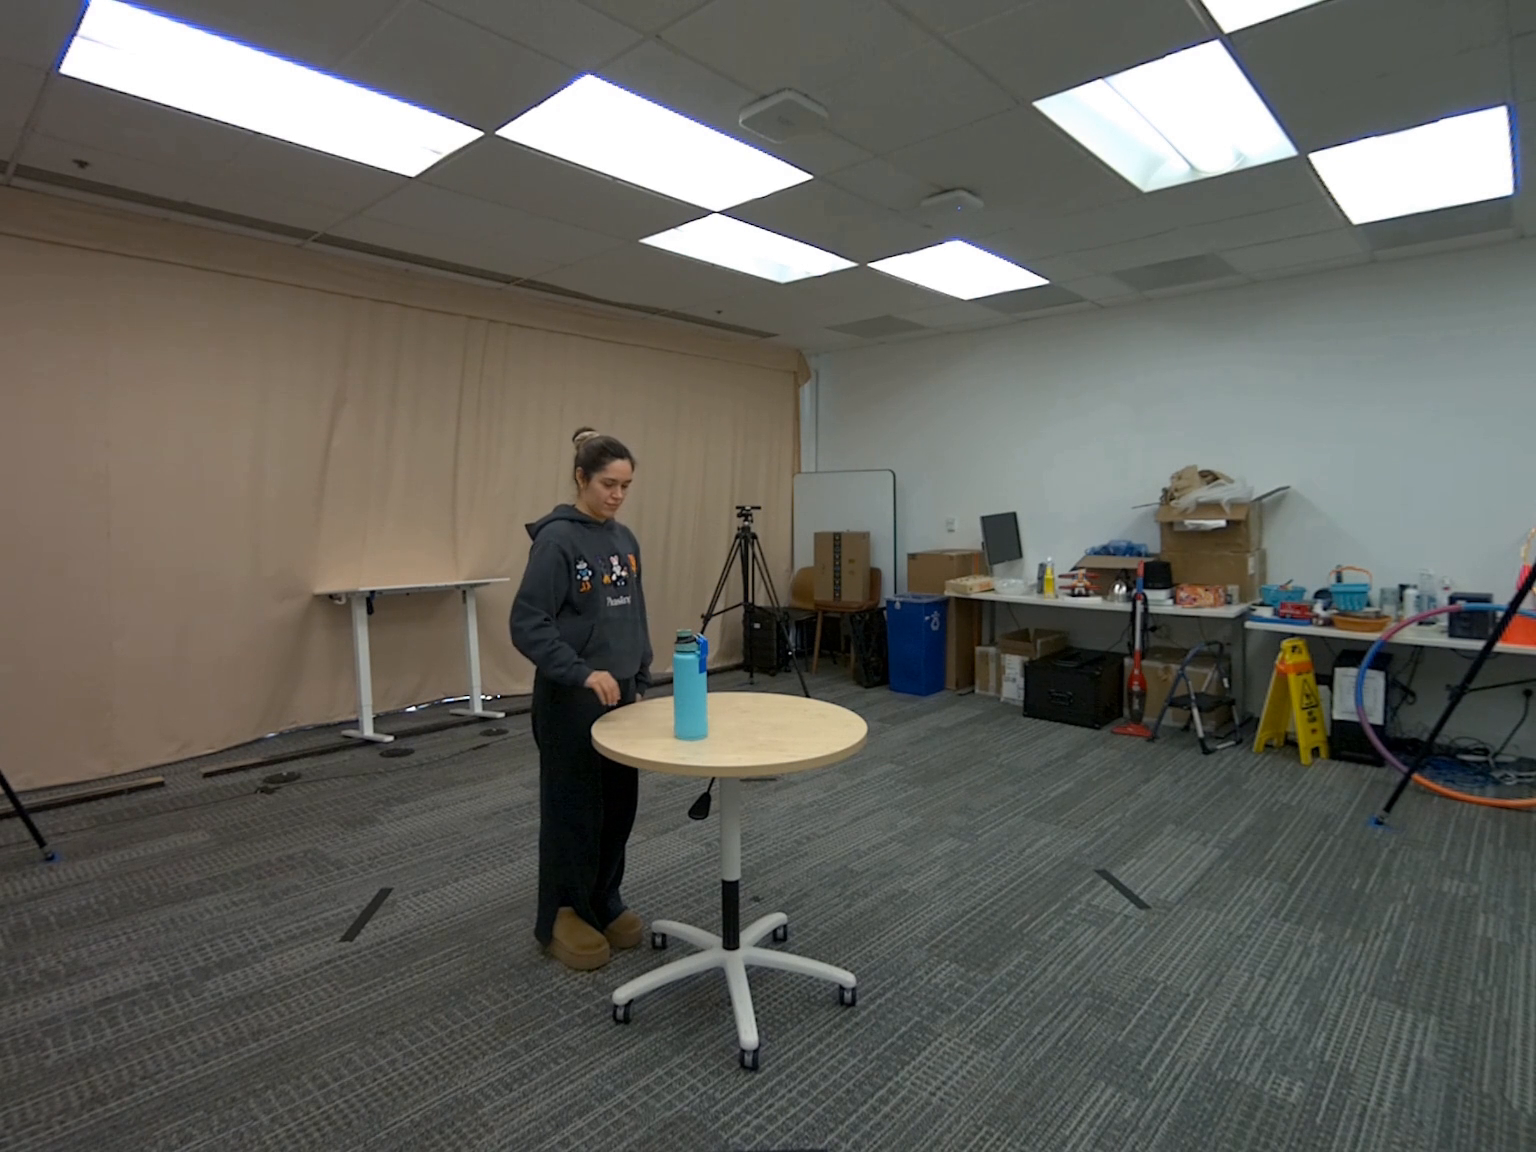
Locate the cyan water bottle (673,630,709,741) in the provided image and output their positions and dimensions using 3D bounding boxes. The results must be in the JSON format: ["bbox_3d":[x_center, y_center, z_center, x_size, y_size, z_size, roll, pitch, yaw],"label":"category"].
[{"bbox_3d":[-0.195,0.288,2.229,0.092,0.283,0.092,0,2,-2],"label":"cyan water bottle"}]
